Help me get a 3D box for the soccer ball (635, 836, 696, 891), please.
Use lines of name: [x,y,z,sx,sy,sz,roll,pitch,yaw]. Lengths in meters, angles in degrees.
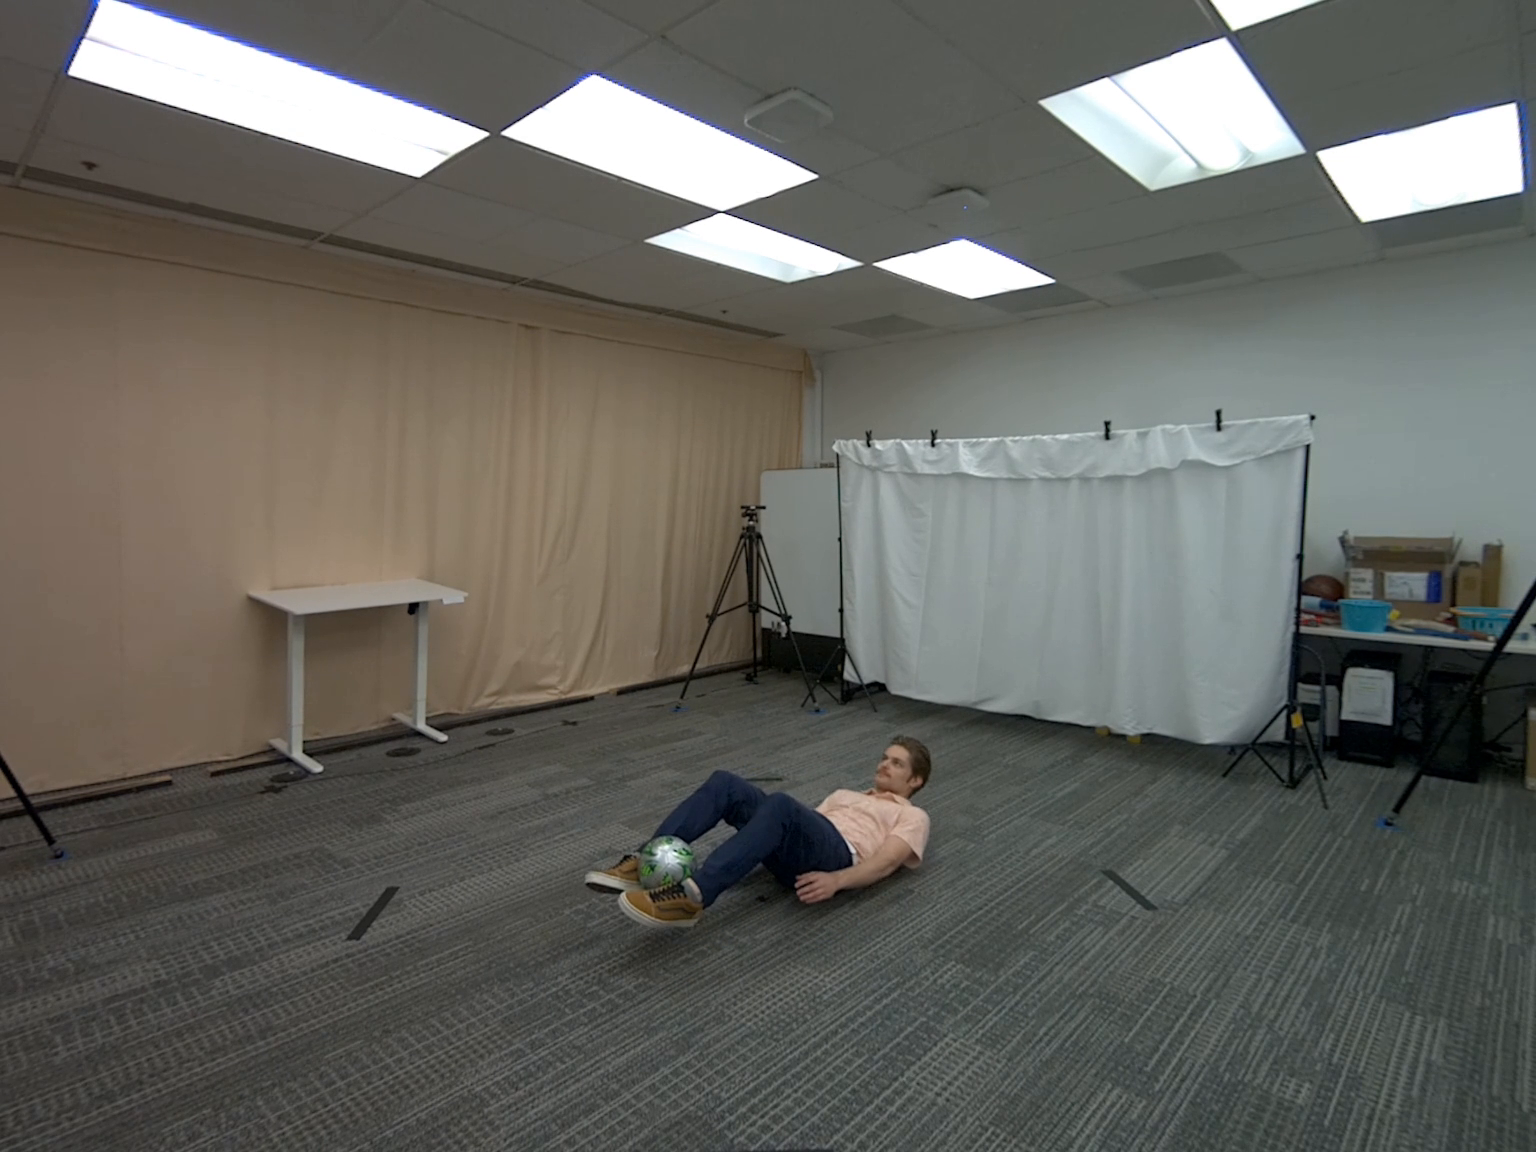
soccer ball: [-0.313,0.913,2.642,0.187,0.187,0.188,0,4,-2]
